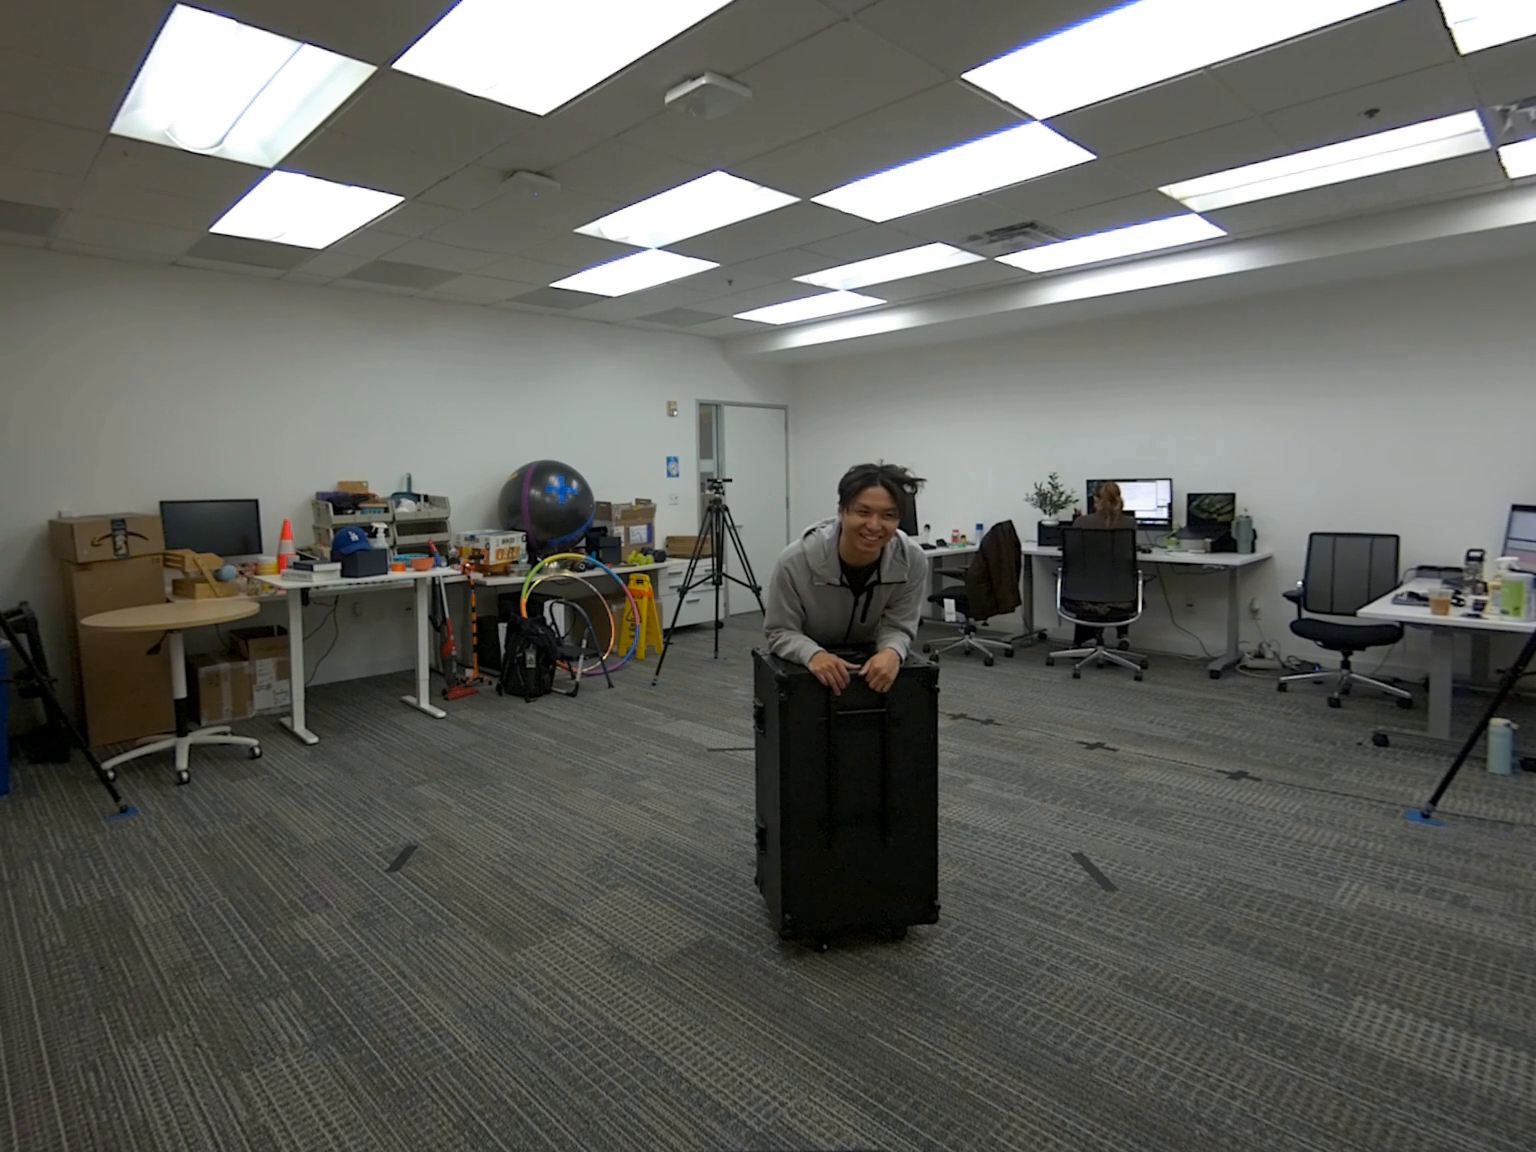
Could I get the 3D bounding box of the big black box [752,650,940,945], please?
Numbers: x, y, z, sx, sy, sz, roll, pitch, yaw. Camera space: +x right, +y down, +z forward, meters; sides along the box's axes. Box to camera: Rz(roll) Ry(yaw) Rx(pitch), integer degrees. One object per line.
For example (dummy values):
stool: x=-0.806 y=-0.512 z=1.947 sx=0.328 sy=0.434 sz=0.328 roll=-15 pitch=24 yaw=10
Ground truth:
big black box: x=0.237 y=0.670 z=2.622 sx=0.517 sy=0.857 sz=0.401 roll=-2 pitch=5 yaw=-9
